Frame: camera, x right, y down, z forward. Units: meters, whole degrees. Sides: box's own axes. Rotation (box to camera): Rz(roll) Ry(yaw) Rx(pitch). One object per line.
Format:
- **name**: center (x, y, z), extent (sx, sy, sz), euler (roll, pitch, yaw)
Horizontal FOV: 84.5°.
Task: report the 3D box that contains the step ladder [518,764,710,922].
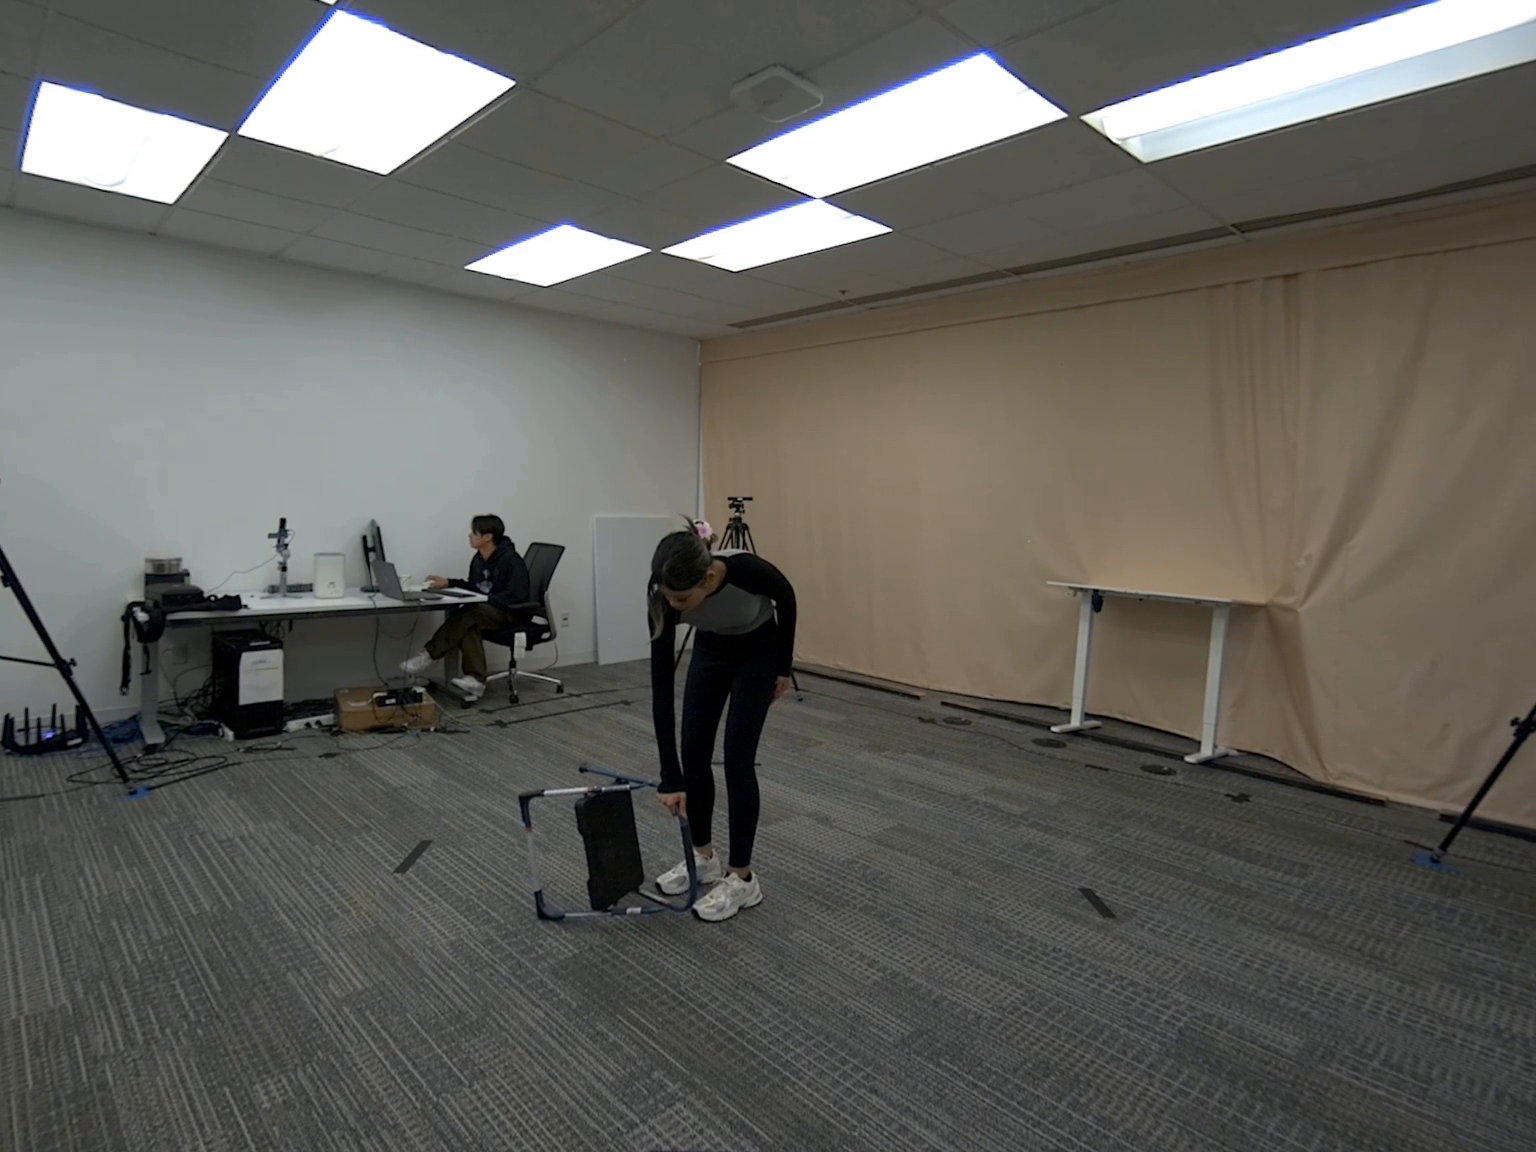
- **step ladder**: center (-0.466, 0.869, 2.752), extent (0.616, 0.431, 0.343), euler (-10, 1, 31)
